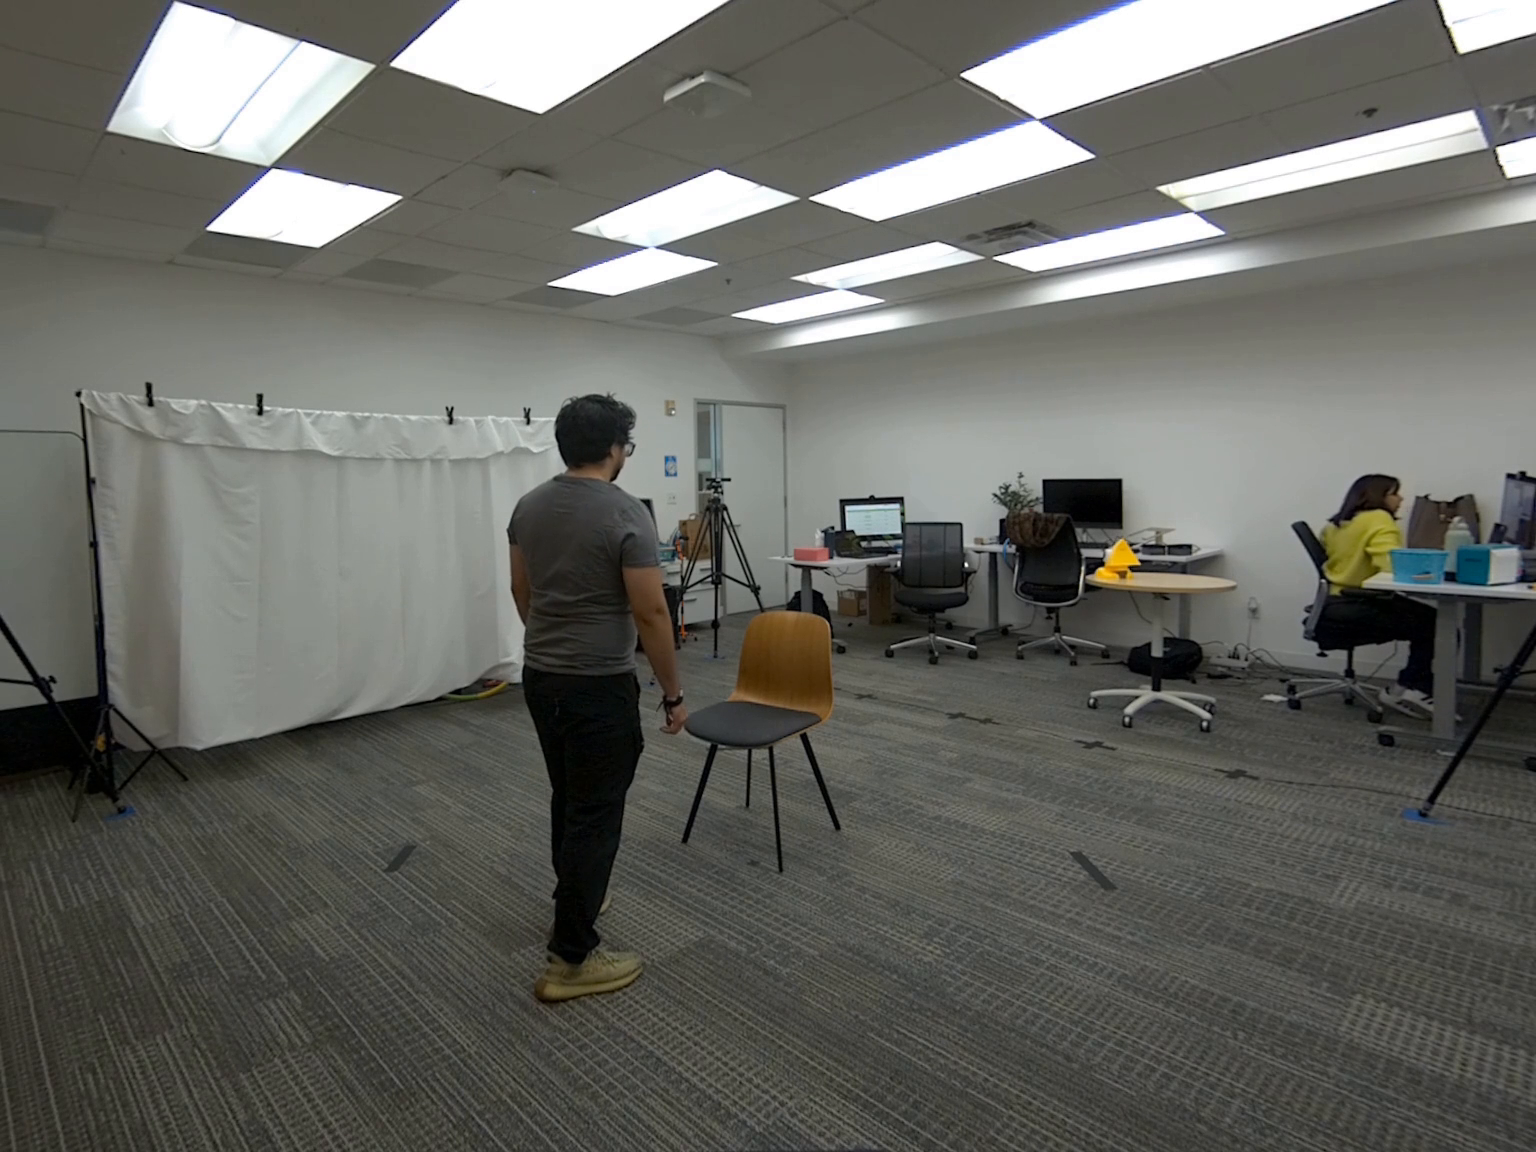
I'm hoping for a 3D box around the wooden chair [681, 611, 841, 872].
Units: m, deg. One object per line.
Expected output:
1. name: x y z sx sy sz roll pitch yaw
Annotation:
1. wooden chair: -0.029 0.592 3.293 0.492 0.877 0.509 2 1 34
